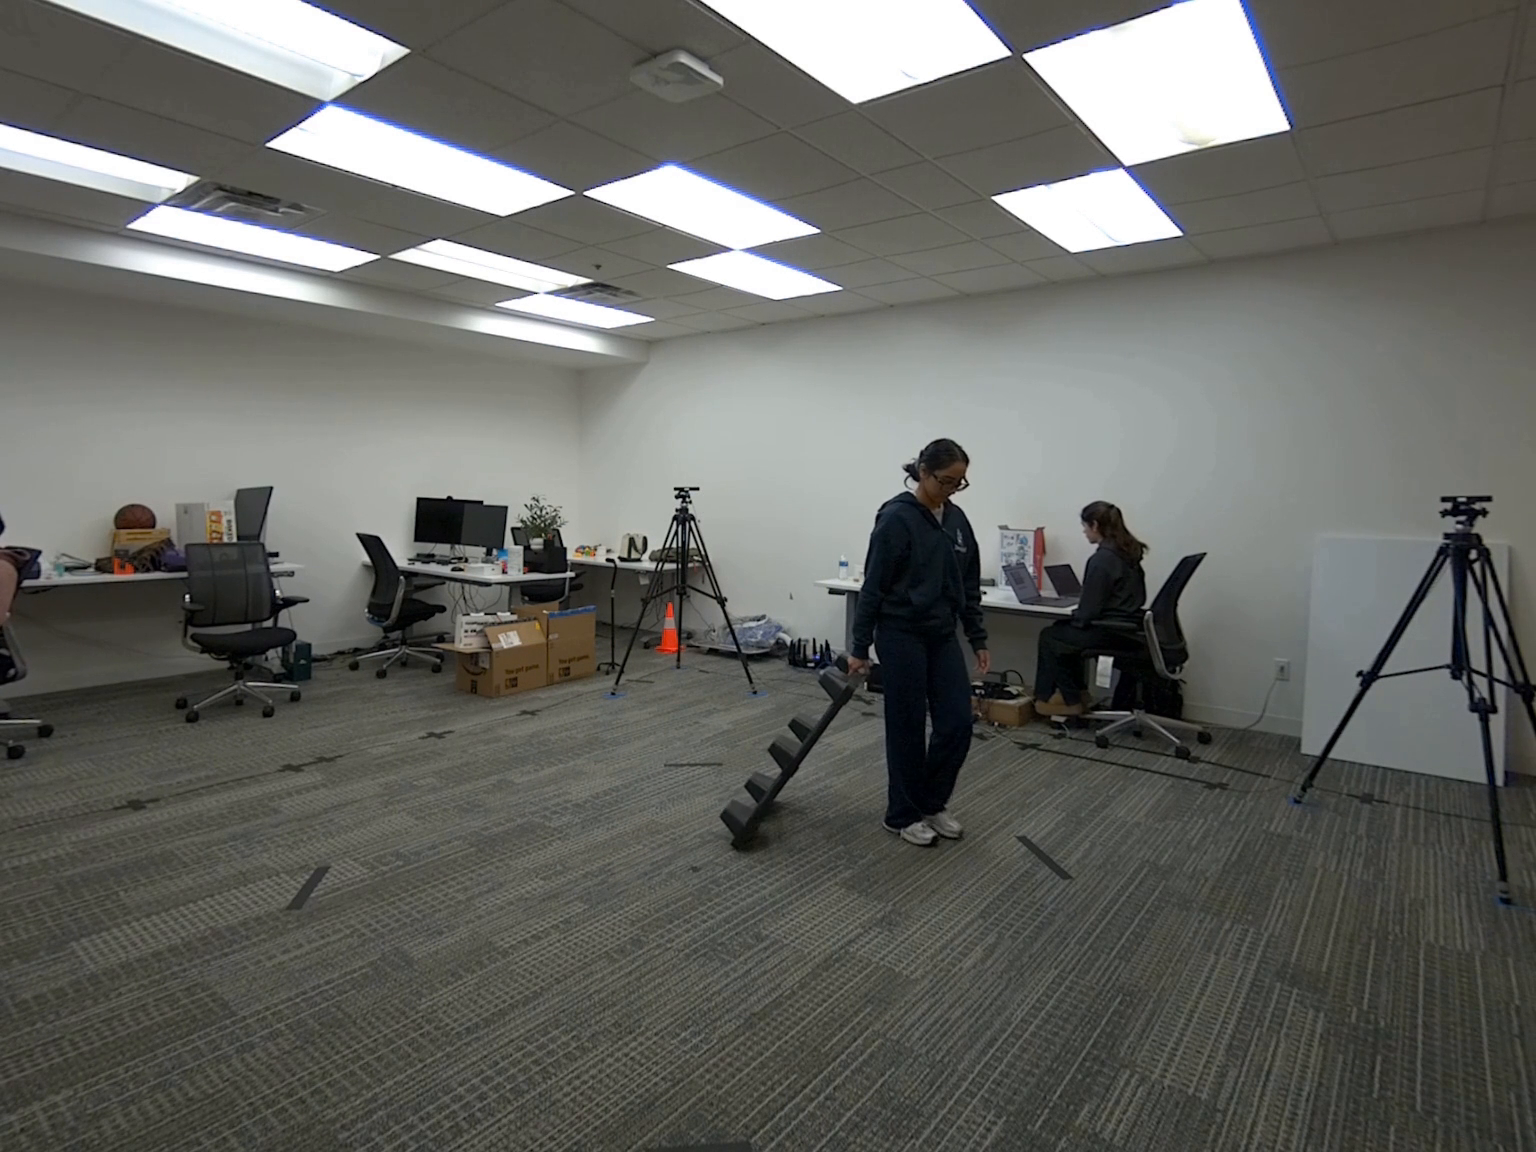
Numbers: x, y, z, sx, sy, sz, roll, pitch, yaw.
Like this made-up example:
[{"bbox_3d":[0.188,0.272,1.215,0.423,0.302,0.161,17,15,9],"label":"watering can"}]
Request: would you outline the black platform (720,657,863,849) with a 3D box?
[{"bbox_3d":[0.105,0.675,3.472,0.145,0.803,0.597,36,11,8],"label":"black platform"}]
